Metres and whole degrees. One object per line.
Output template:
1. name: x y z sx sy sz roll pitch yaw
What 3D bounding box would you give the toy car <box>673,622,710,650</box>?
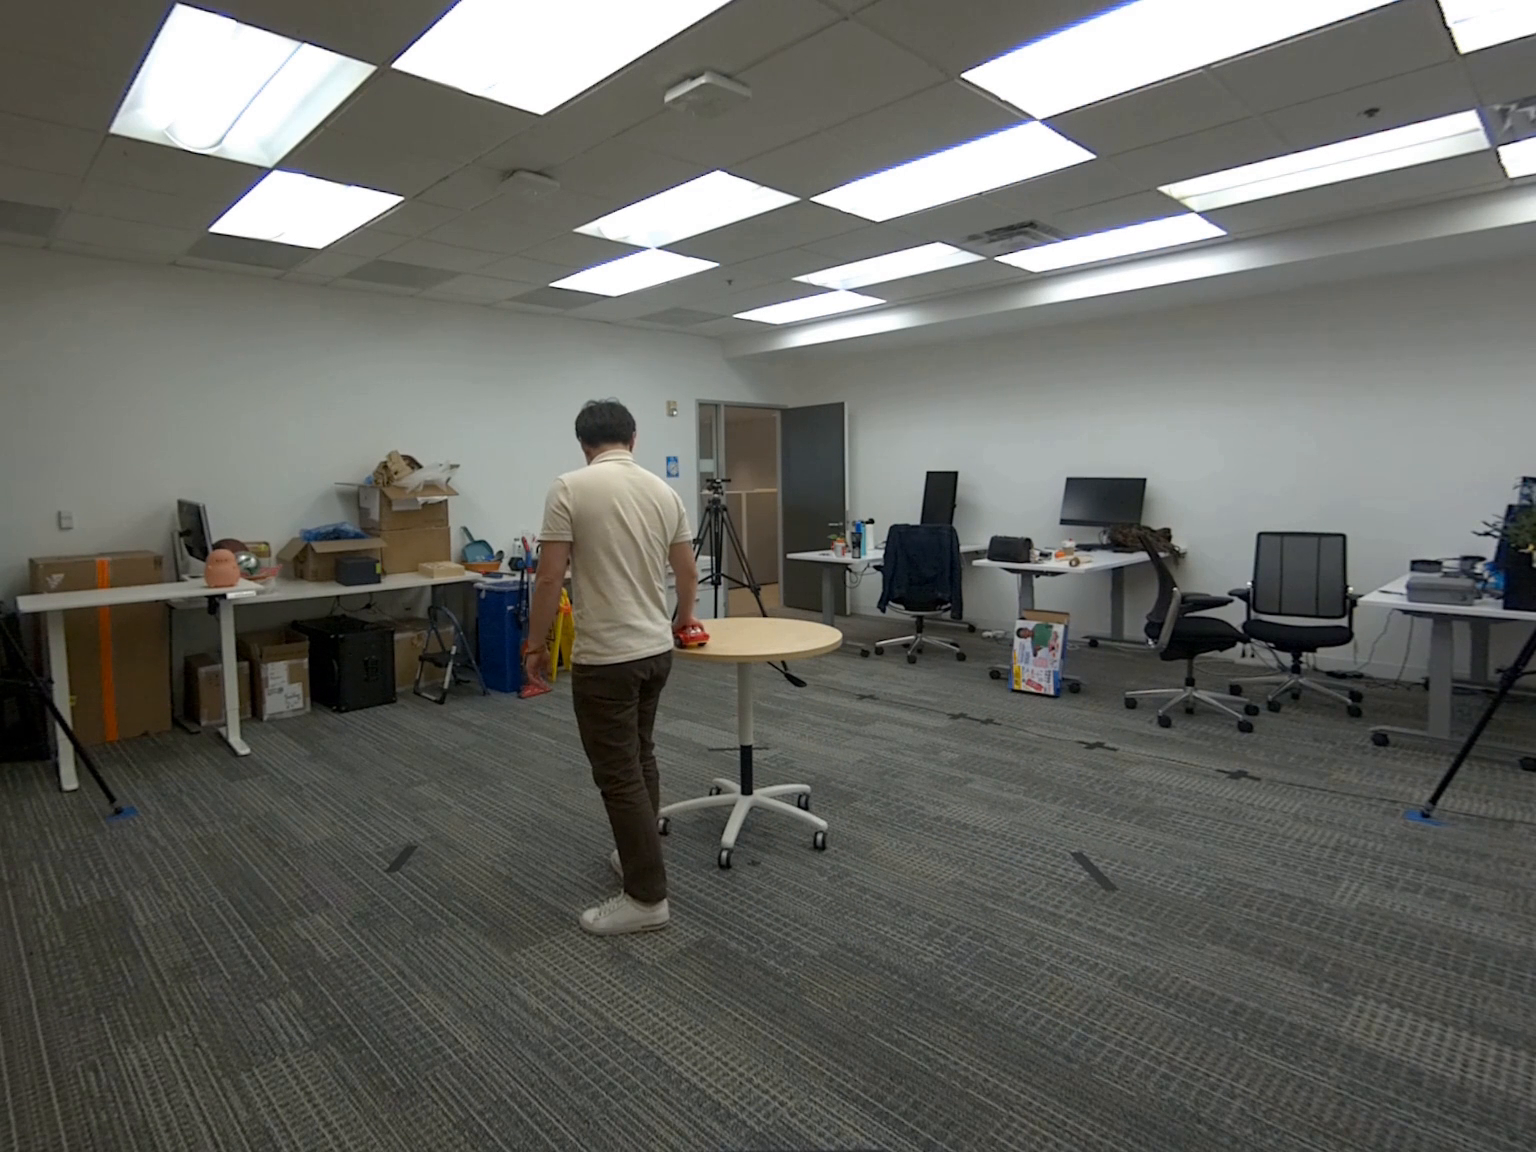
1. toy car: -0.304 0.228 3.182 0.127 0.084 0.259 -3 -5 -32
